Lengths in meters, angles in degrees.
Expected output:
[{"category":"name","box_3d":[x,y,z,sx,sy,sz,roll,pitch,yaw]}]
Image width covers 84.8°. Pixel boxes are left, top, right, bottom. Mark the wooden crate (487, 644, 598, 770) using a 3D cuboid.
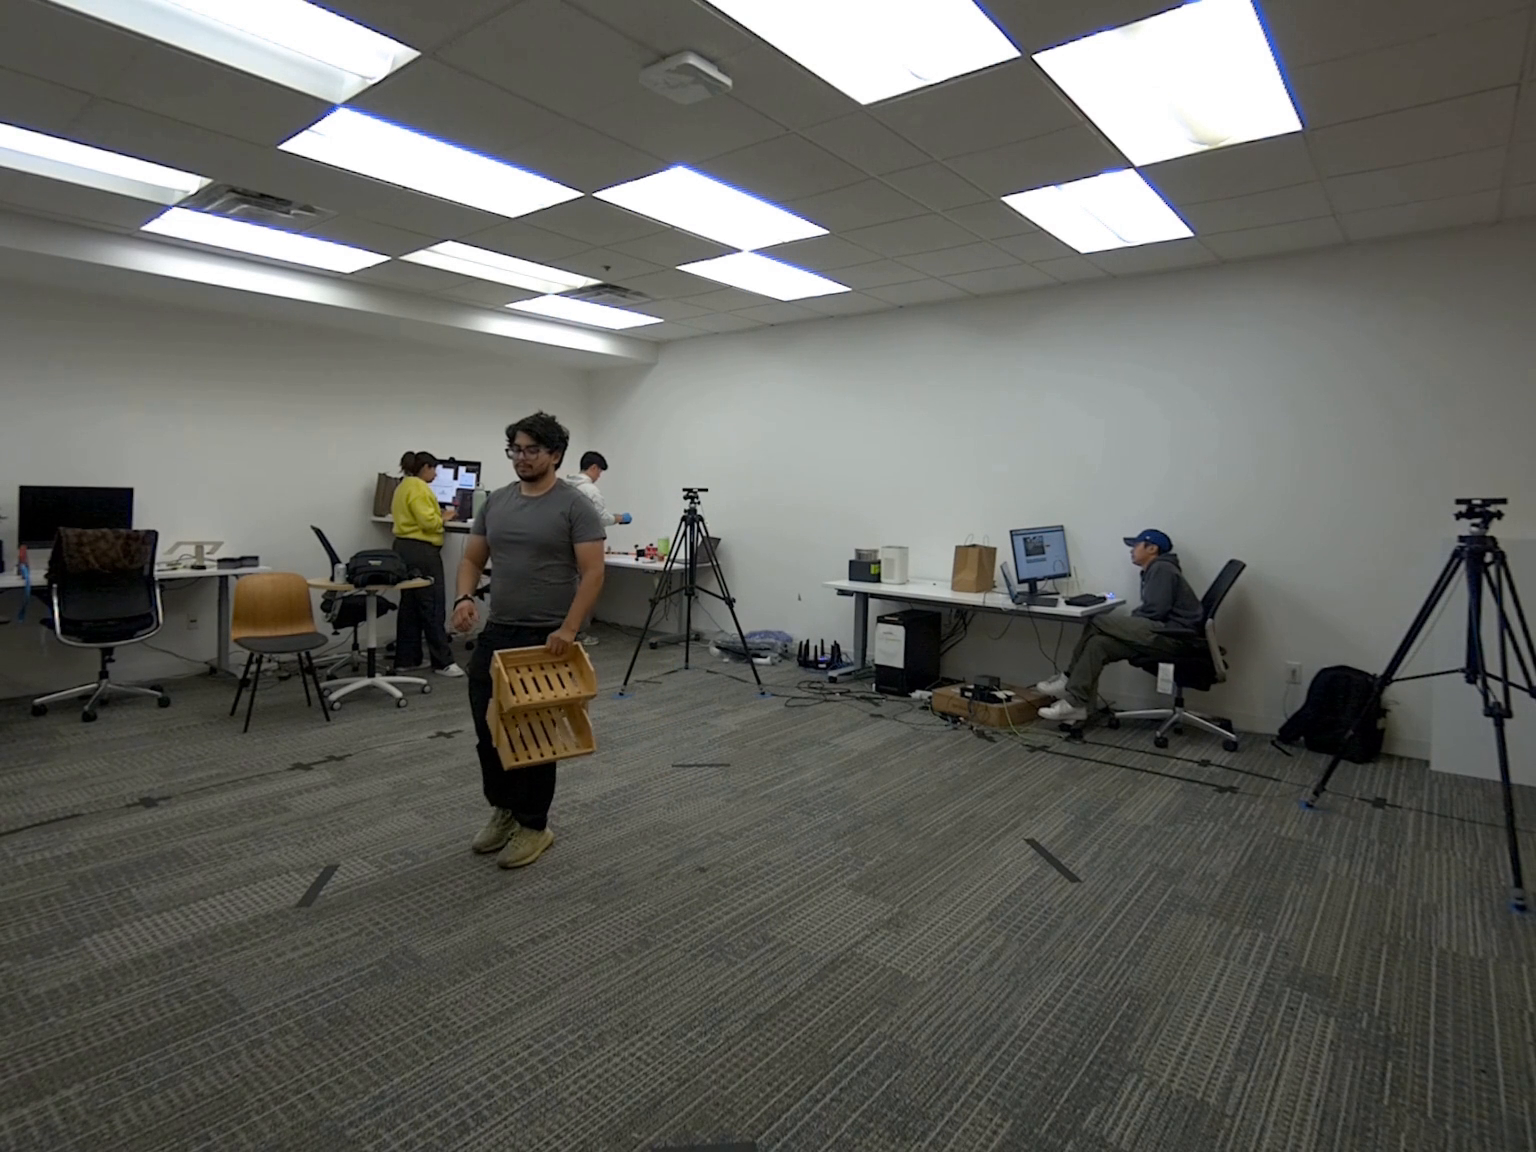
[{"category":"wooden crate","box_3d":[-0.746,0.425,2.819,0.315,0.269,0.315,-3,39,-35]}]
